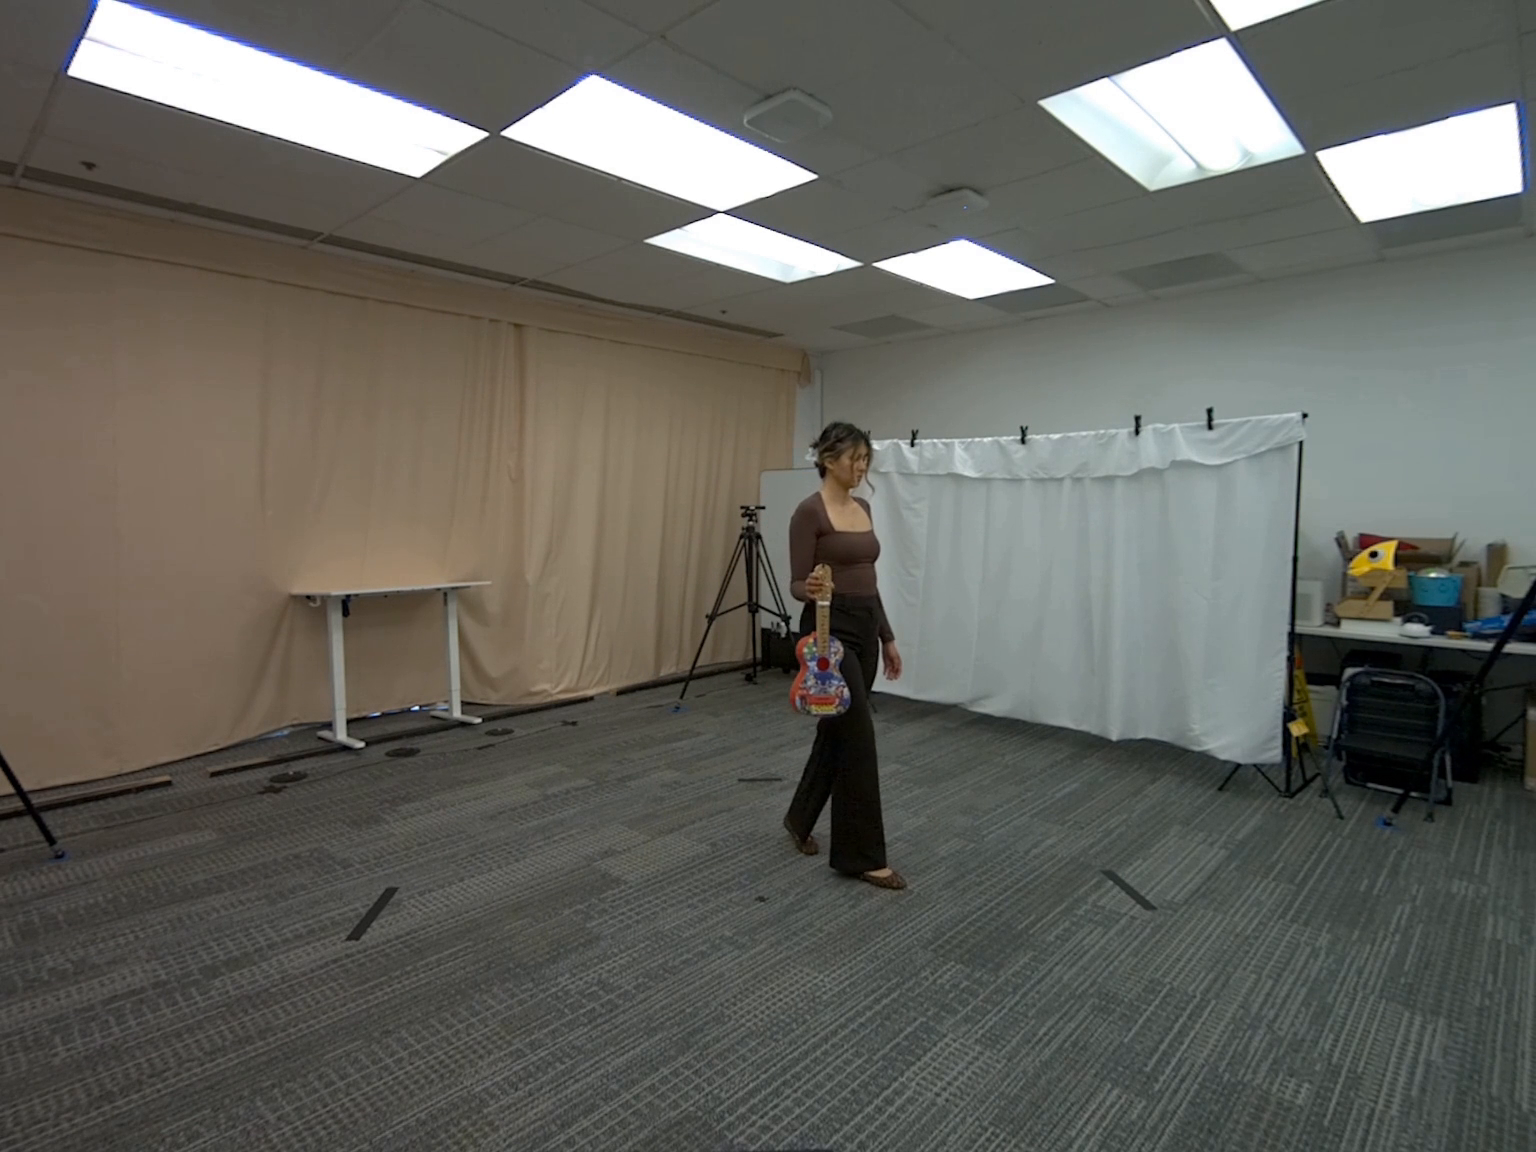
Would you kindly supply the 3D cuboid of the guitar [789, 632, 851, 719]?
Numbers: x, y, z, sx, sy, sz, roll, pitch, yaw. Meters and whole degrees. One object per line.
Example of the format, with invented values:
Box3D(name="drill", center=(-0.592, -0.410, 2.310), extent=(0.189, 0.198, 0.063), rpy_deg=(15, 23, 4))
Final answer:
Box3D(name="guitar", center=(0.208, 0.221, 2.804), extent=(0.190, 0.499, 0.071), rpy_deg=(11, -5, -12))
